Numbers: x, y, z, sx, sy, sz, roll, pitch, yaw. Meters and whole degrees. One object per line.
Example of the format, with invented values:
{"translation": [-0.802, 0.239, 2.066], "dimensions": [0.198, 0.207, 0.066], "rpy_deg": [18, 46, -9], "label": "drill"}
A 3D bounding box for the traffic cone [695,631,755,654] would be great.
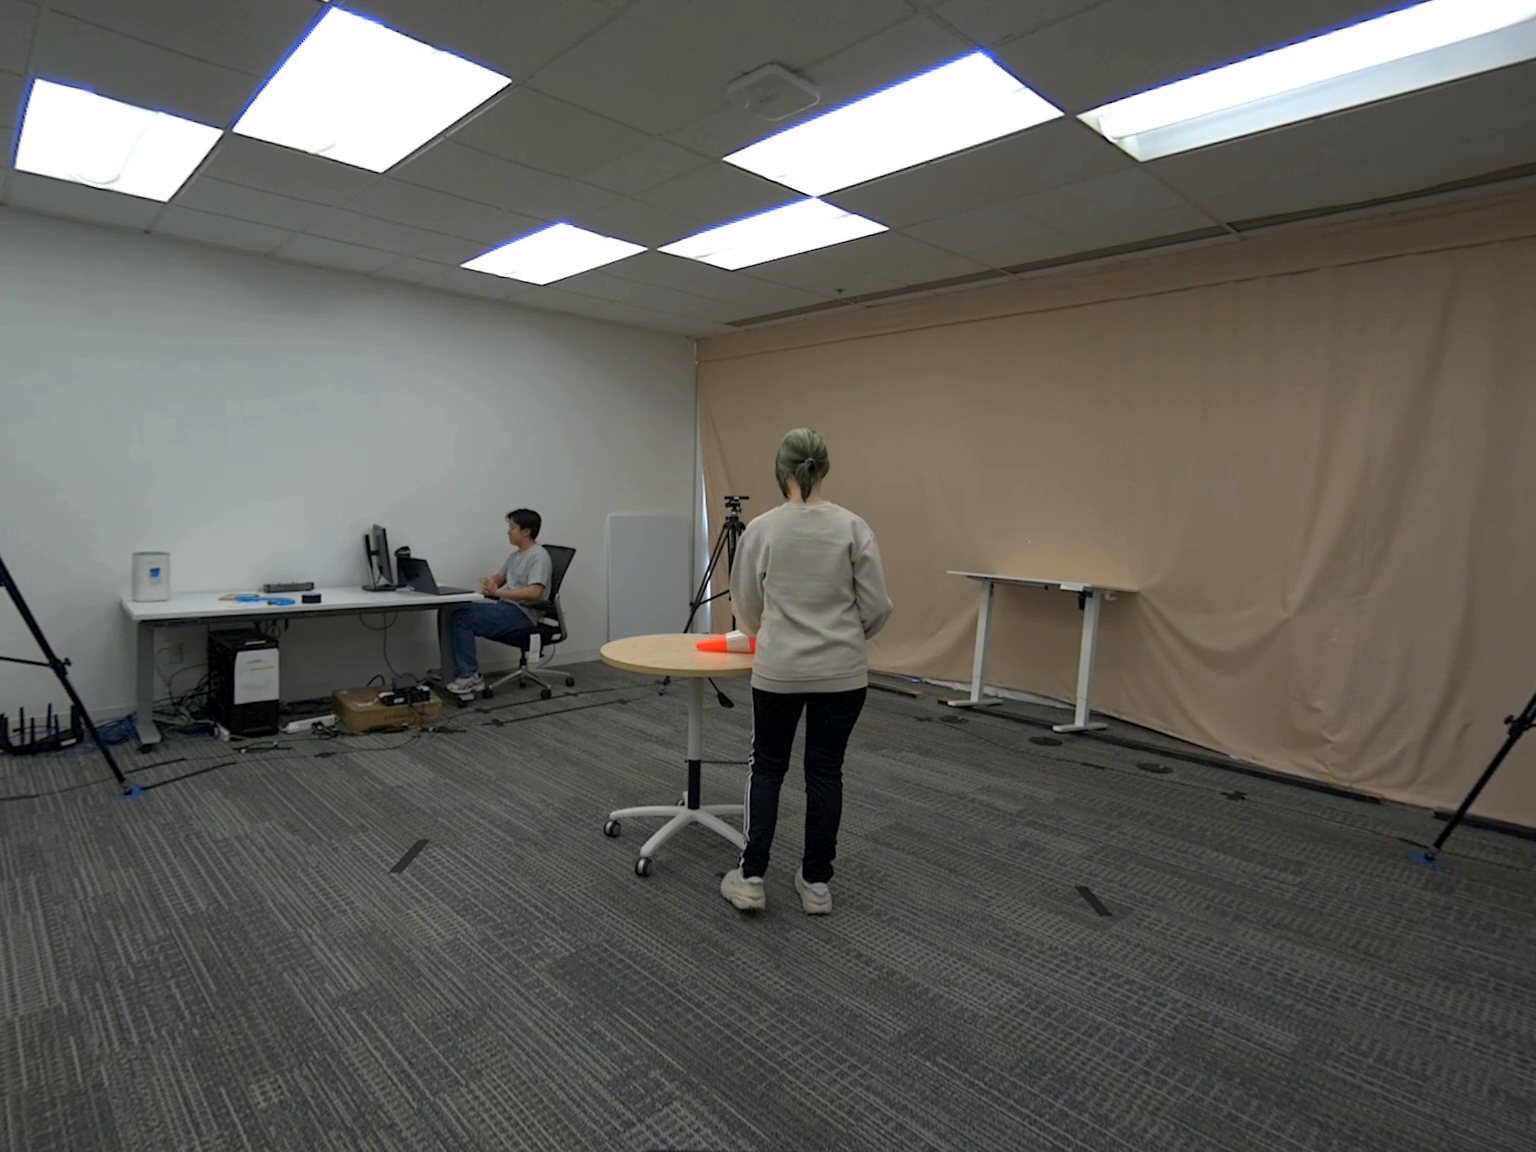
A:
{"translation": [-0.100, 0.268, 3.316], "dimensions": [0.384, 0.208, 0.200], "rpy_deg": [-11, -27, 1], "label": "traffic cone"}
